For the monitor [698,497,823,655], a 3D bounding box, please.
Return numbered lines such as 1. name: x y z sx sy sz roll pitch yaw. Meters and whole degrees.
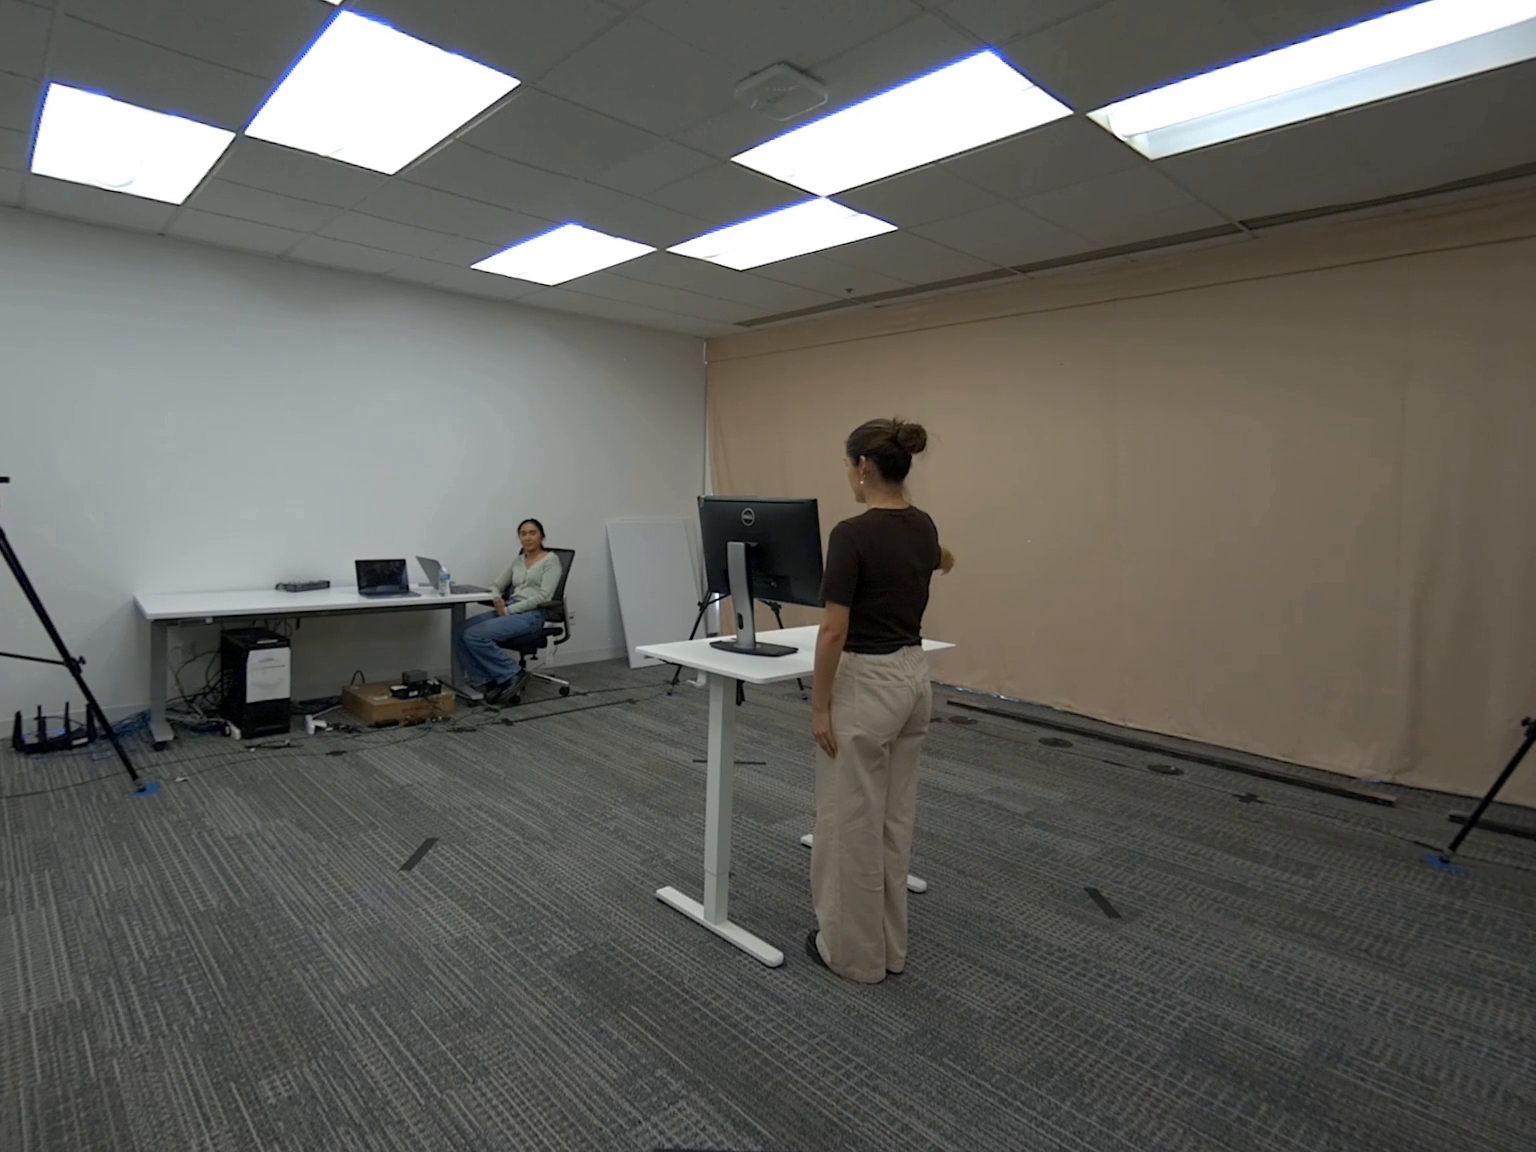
1. monitor: -0.056 -0.001 2.799 0.553 0.521 0.183 5 5 43
